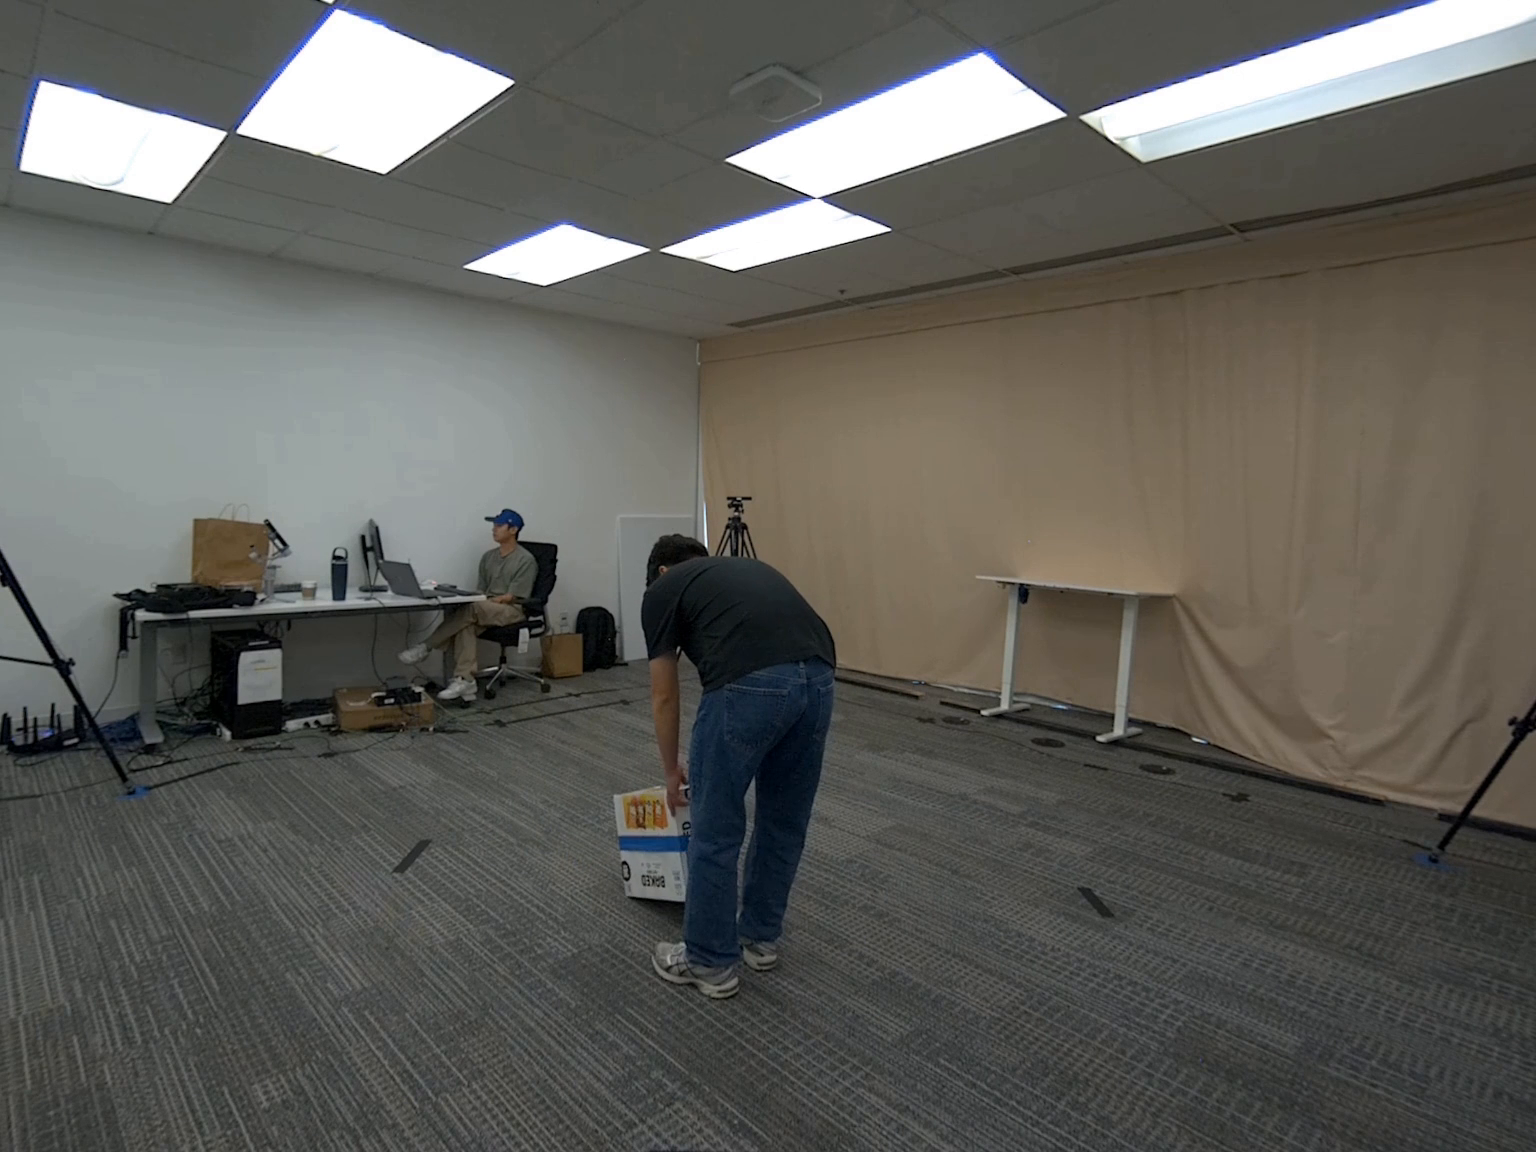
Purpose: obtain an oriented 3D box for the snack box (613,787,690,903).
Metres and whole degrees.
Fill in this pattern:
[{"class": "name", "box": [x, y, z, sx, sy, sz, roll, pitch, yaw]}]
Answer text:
[{"class": "snack box", "box": [-0.333, 0.901, 2.869, 0.201, 0.344, 0.410, 1, -15, -38]}]
